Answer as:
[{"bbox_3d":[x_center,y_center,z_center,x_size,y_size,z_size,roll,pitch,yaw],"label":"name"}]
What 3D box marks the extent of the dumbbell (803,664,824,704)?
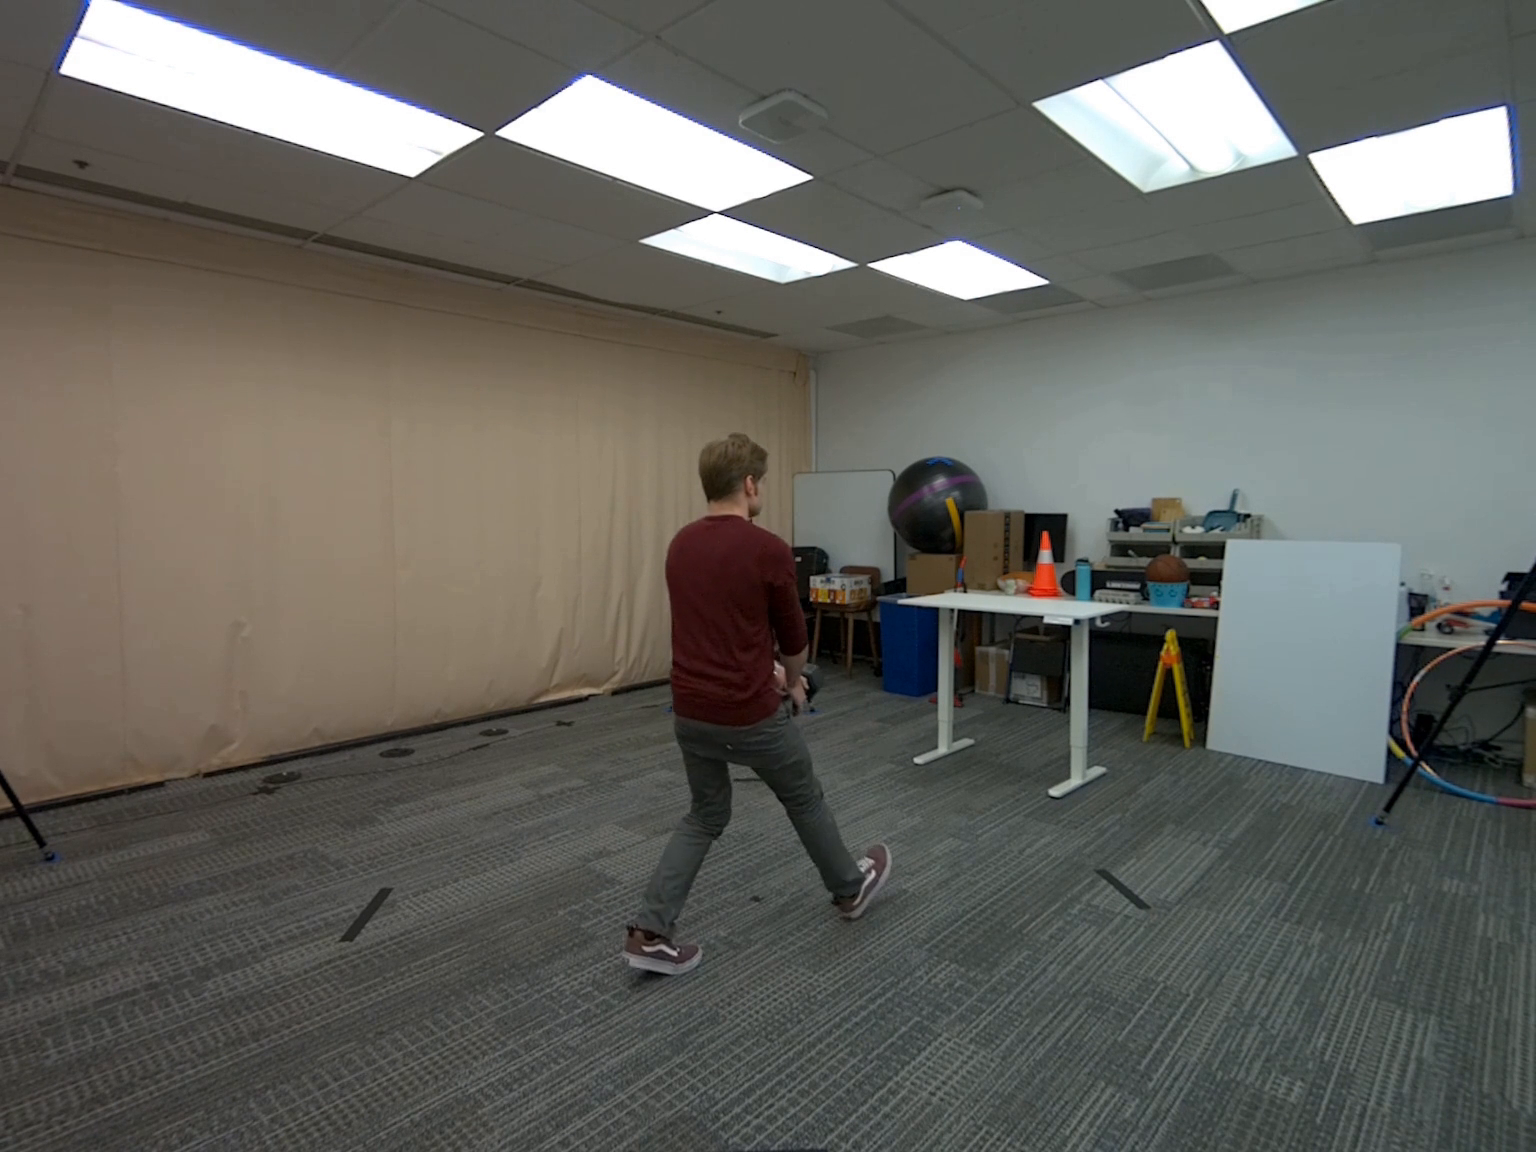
[{"bbox_3d":[0.094,0.418,2.869,0.111,0.123,0.288,41,36,14],"label":"dumbbell"}]
